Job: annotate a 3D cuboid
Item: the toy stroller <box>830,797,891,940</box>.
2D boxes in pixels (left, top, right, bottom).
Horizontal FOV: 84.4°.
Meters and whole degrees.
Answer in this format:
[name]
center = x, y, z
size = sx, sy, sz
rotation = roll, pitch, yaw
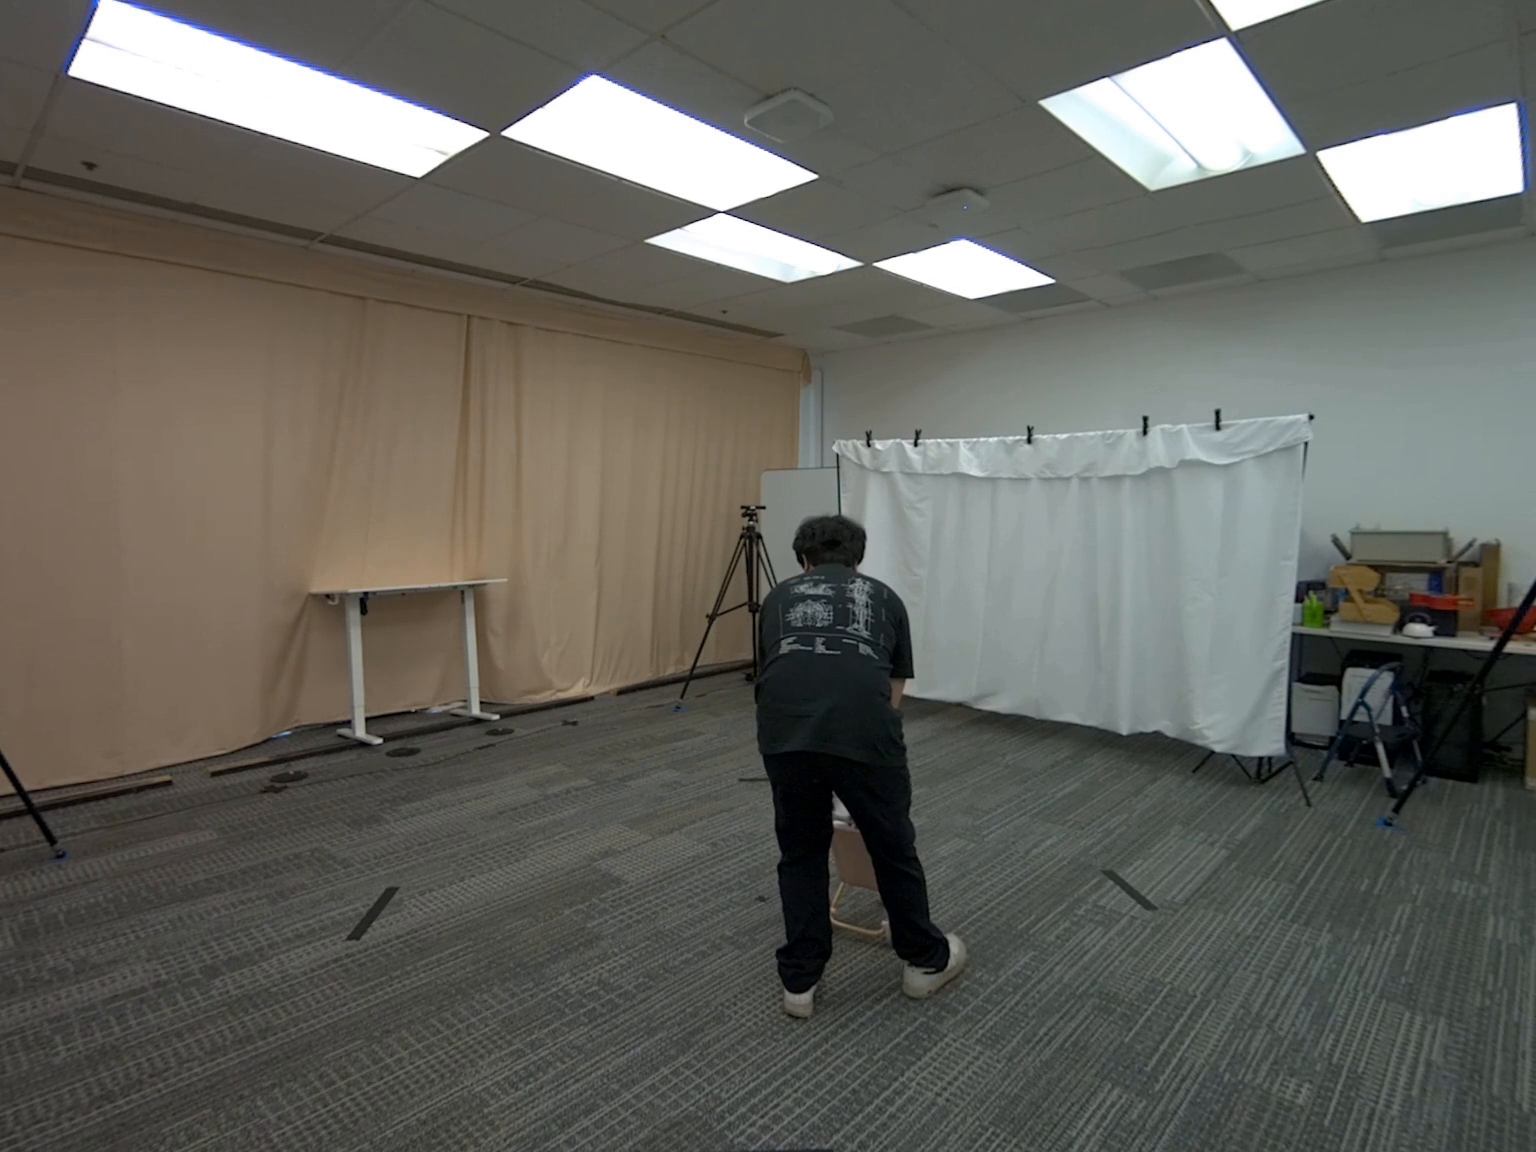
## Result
[toy stroller]
center = 0.327, 0.939, 2.782
size = 0.290, 0.529, 0.335
rotation = 1, 18, 33
